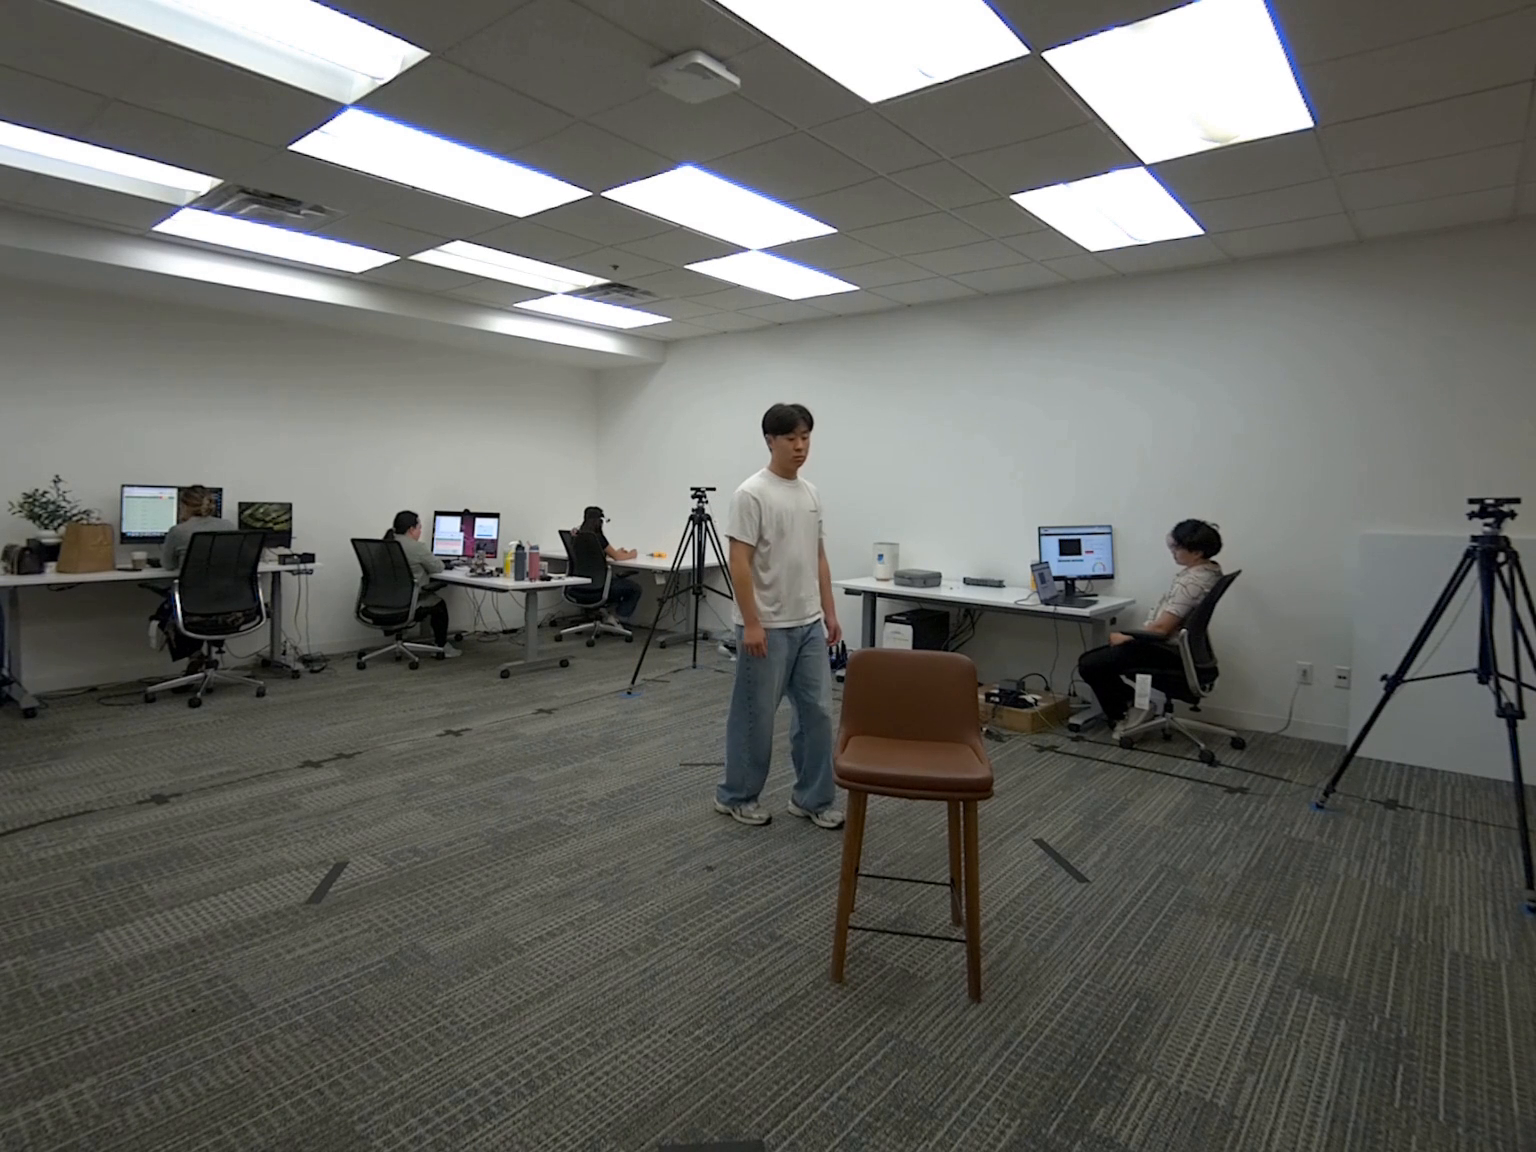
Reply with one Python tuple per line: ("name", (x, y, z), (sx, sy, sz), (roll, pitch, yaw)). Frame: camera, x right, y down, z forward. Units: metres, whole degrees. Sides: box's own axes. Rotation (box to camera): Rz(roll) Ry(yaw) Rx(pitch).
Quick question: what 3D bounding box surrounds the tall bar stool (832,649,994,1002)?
("tall bar stool", (0.428, 0.695, 2.574), (0.462, 0.889, 0.462), (3, 1, 10))
